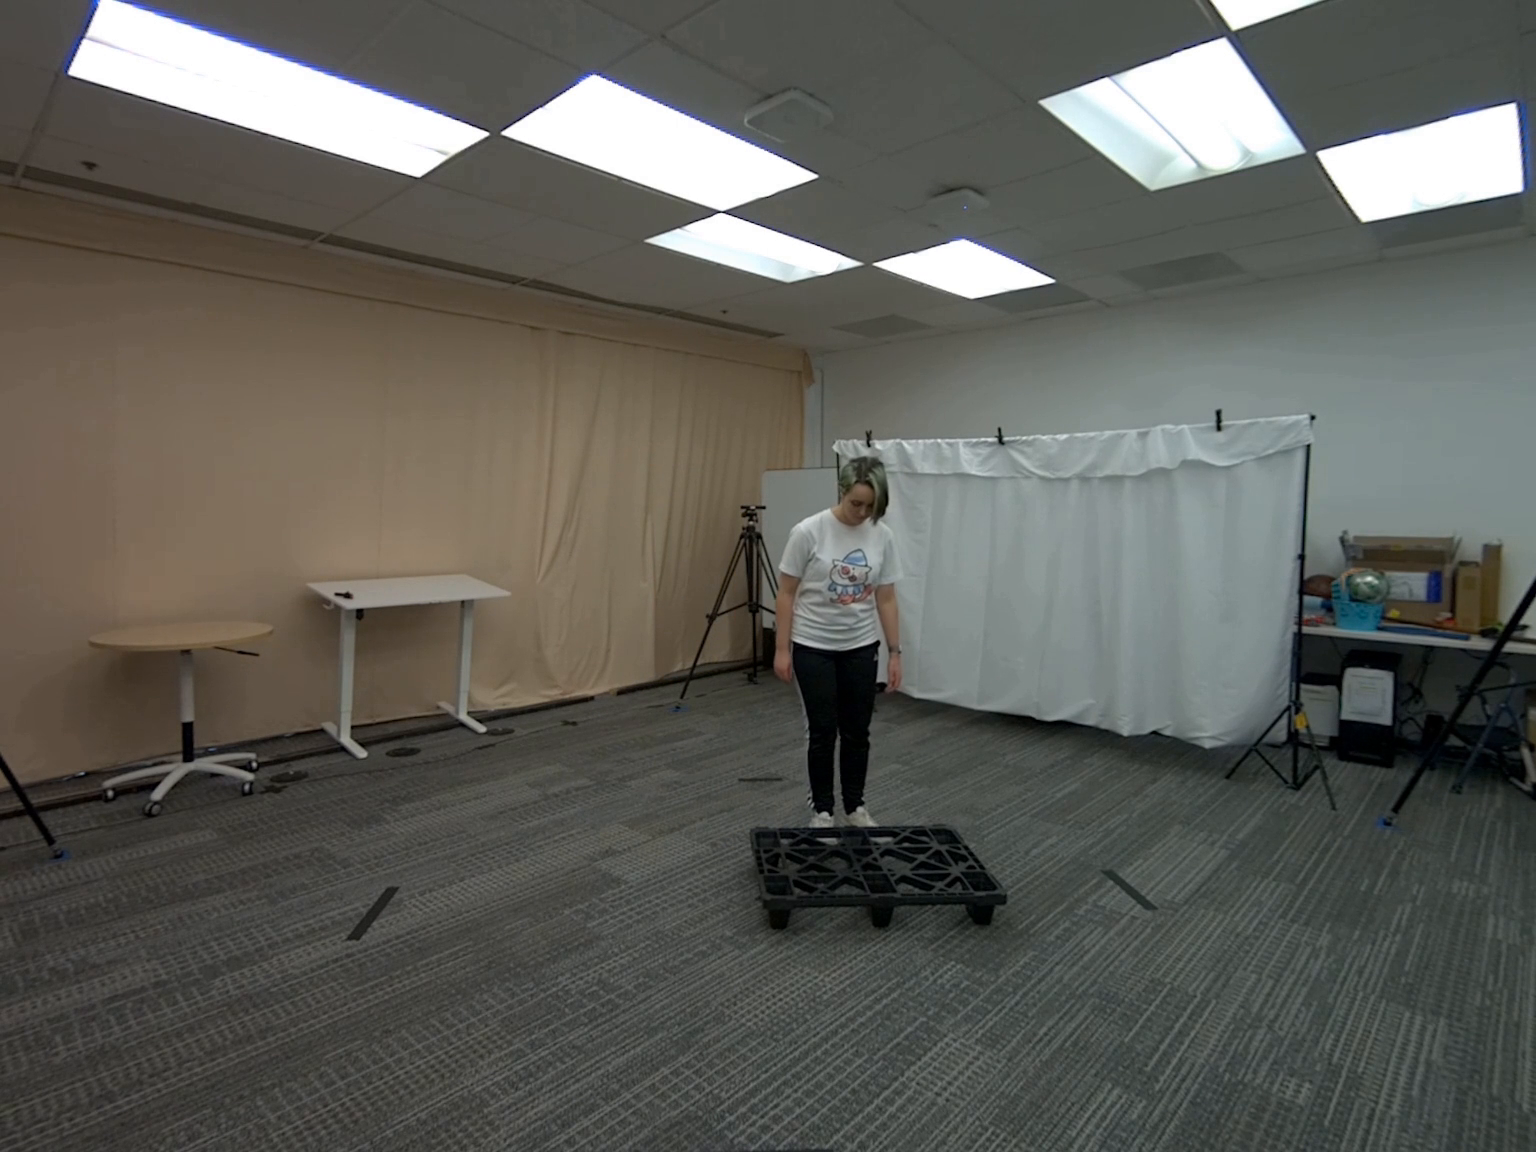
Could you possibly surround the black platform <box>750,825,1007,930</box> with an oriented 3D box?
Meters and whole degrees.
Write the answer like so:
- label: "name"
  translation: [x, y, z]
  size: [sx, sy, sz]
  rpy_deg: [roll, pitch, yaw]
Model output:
- label: "black platform"
  translation: [0.352, 1.070, 3.012]
  size: [0.804, 0.143, 0.608]
  rpy_deg: [0, 4, -3]
